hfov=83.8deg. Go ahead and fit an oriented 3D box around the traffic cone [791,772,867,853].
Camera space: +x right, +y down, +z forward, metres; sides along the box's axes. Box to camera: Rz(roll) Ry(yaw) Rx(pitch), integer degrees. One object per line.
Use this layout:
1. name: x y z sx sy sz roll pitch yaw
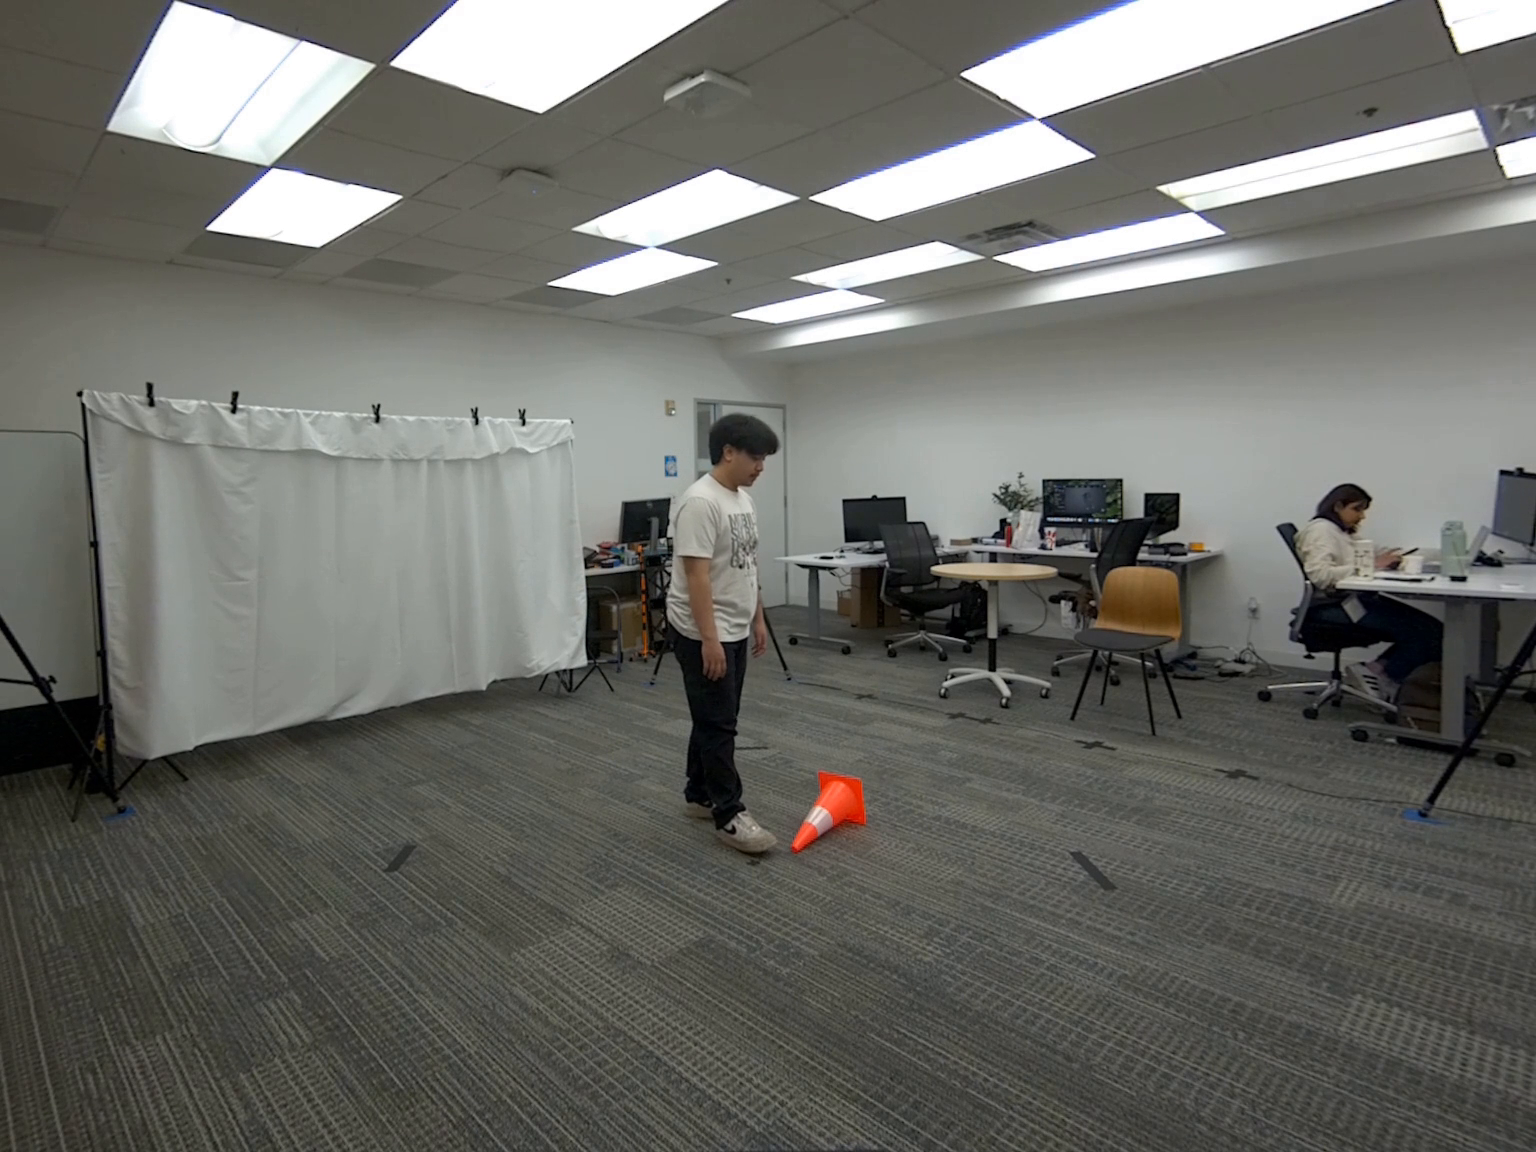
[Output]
1. traffic cone: 0.213 0.965 3.321 0.210 0.200 0.379 0 19 32
